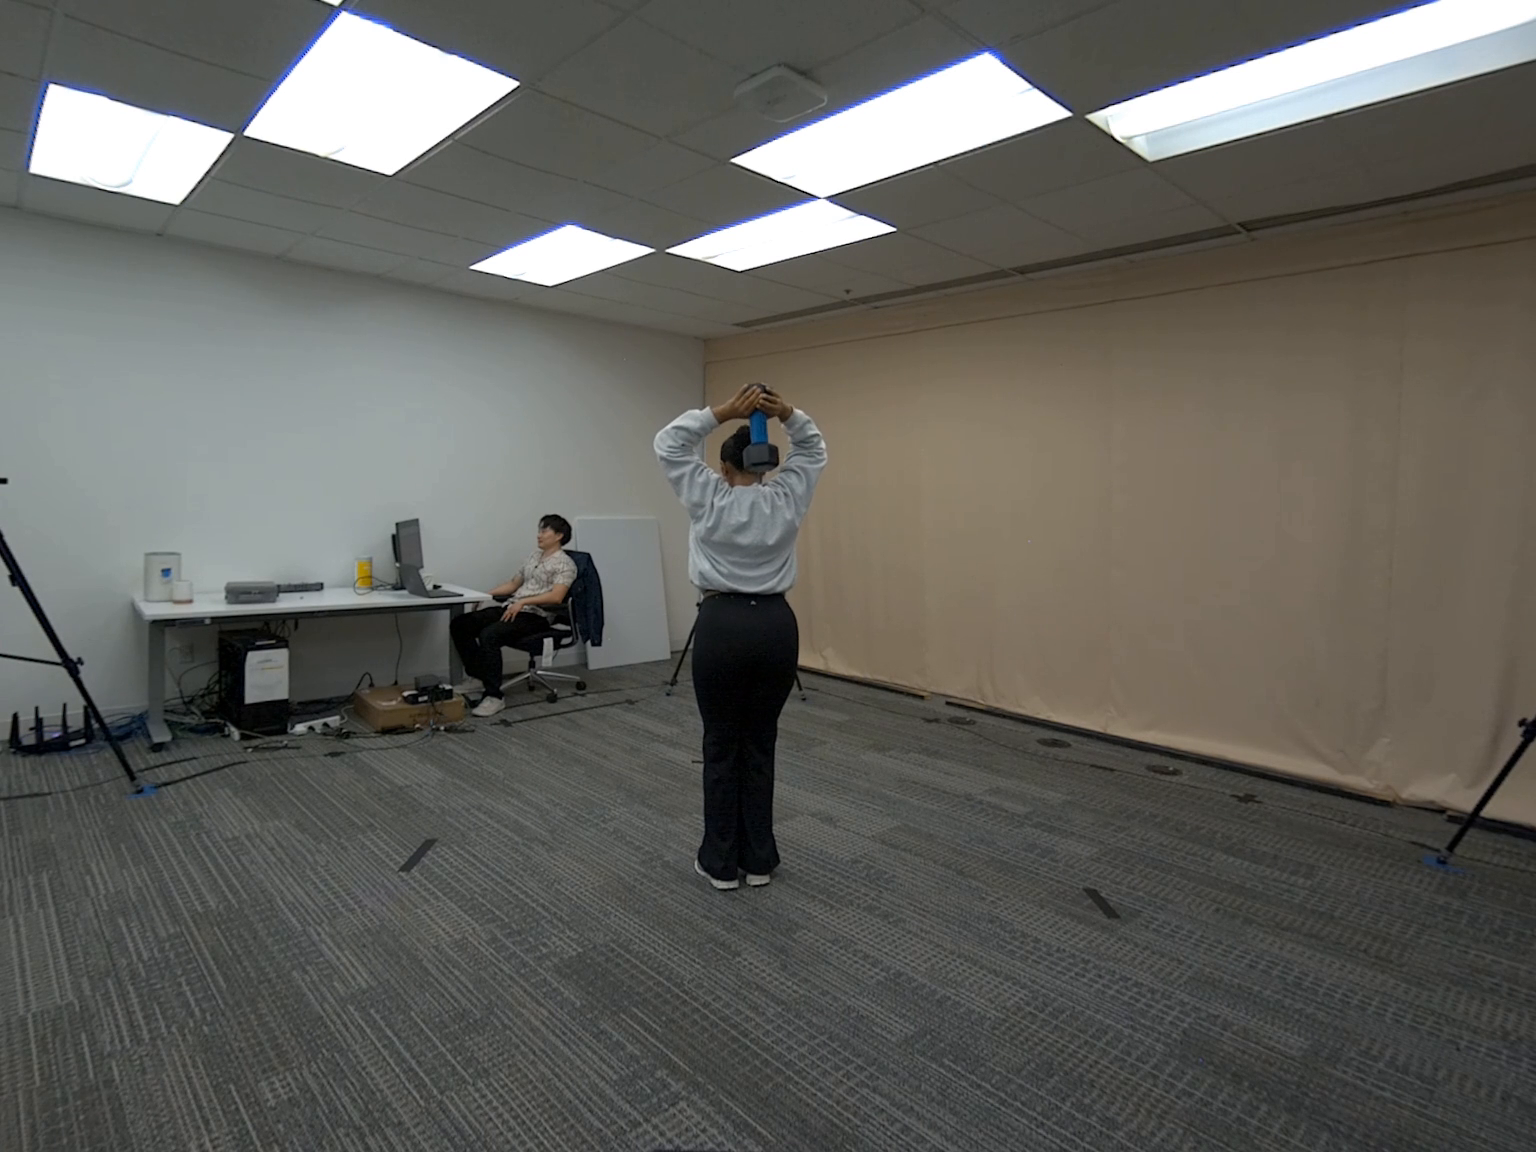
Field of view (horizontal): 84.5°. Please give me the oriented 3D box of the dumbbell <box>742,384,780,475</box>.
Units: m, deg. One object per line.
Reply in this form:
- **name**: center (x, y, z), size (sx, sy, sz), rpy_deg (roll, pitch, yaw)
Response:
- **dumbbell**: center (-0.048, -0.510, 2.879), size (0.110, 0.296, 0.120), rpy_deg (-14, -13, 35)
